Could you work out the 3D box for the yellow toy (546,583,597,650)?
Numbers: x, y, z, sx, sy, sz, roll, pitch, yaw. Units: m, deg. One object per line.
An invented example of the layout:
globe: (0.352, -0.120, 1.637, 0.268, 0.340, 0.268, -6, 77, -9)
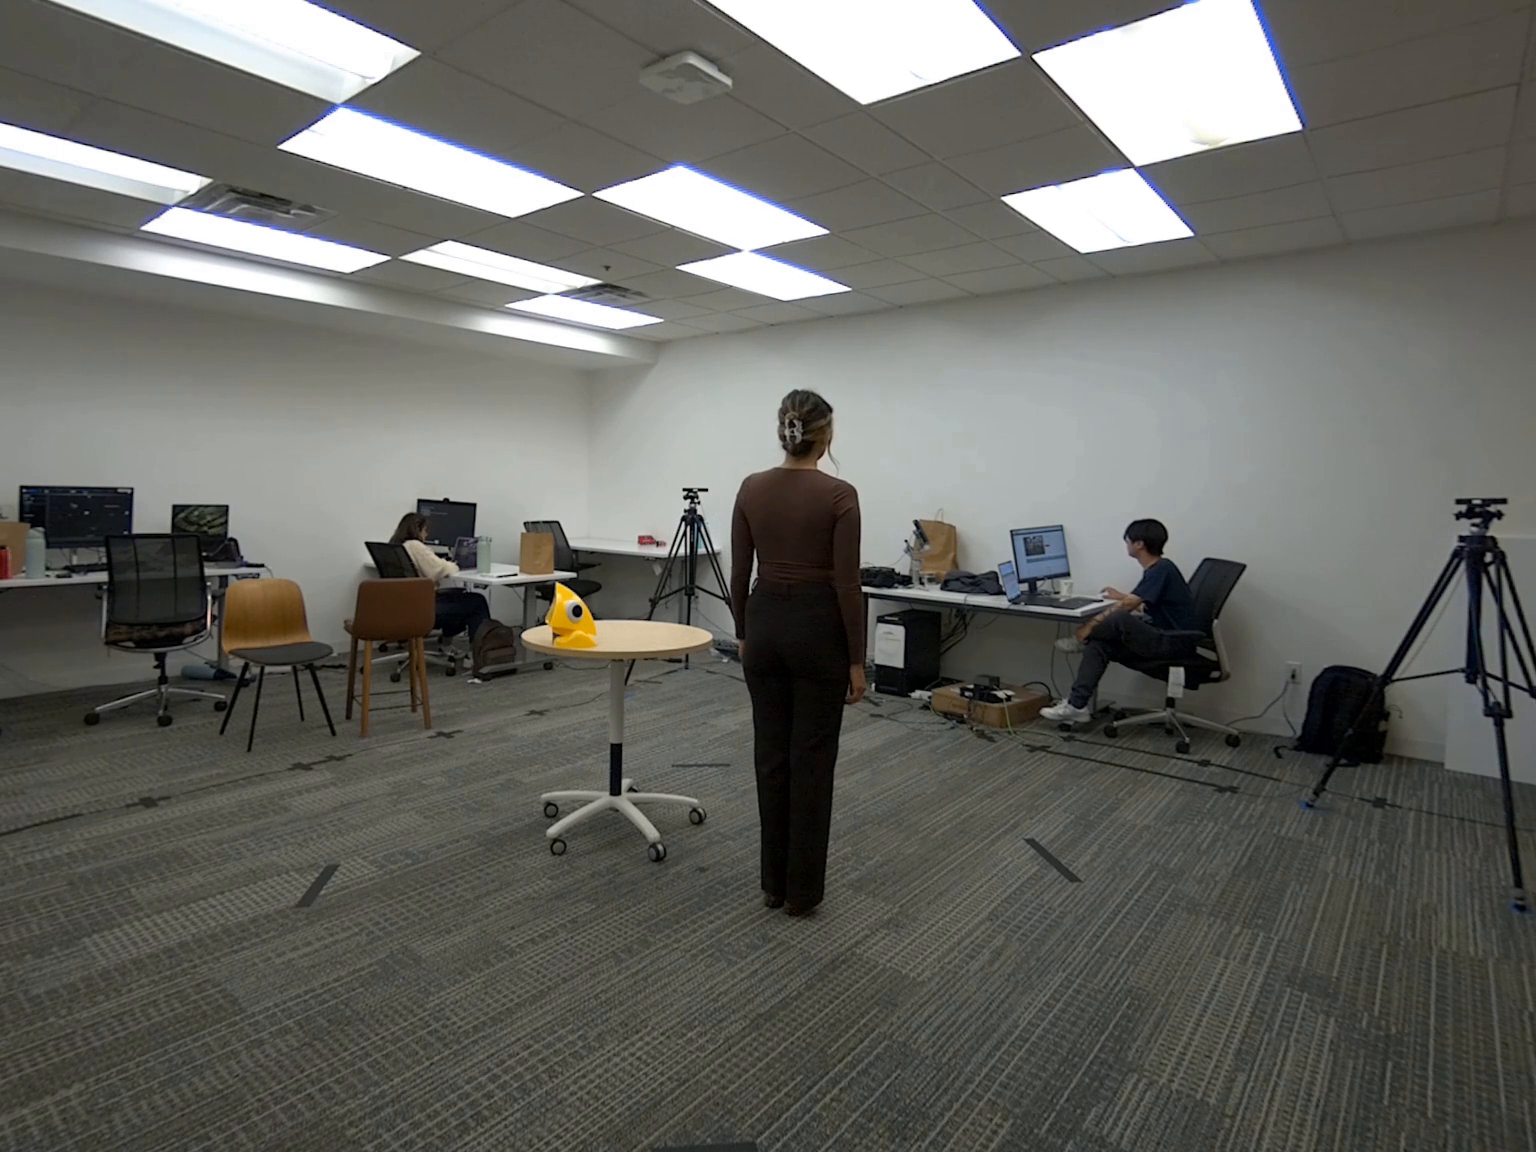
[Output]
yellow toy: (-0.753, 0.137, 3.215, 0.189, 0.230, 0.209, 0, 4, -18)
